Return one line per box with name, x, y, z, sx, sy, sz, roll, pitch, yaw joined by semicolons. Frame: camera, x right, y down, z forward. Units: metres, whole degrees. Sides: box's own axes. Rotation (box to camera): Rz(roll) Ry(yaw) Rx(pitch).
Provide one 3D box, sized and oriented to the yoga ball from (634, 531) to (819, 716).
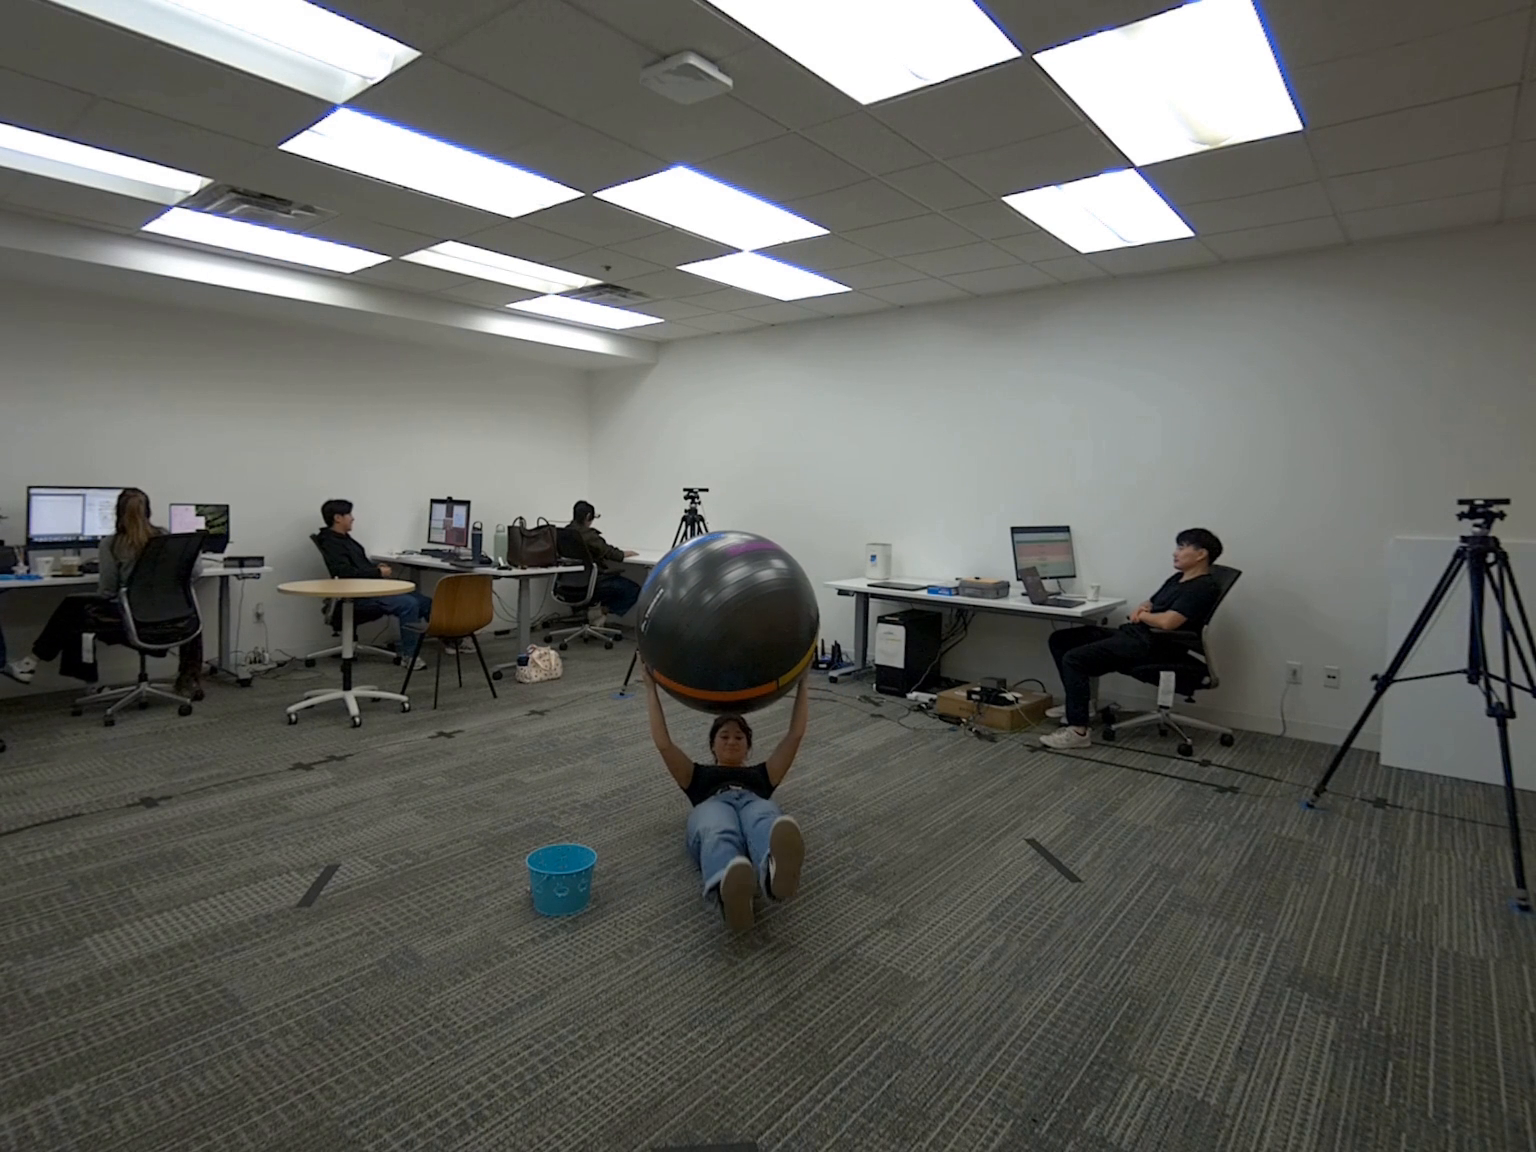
yoga ball;-0.180;0.192;3.512;0.757;0.755;0.762;1;4;-2
